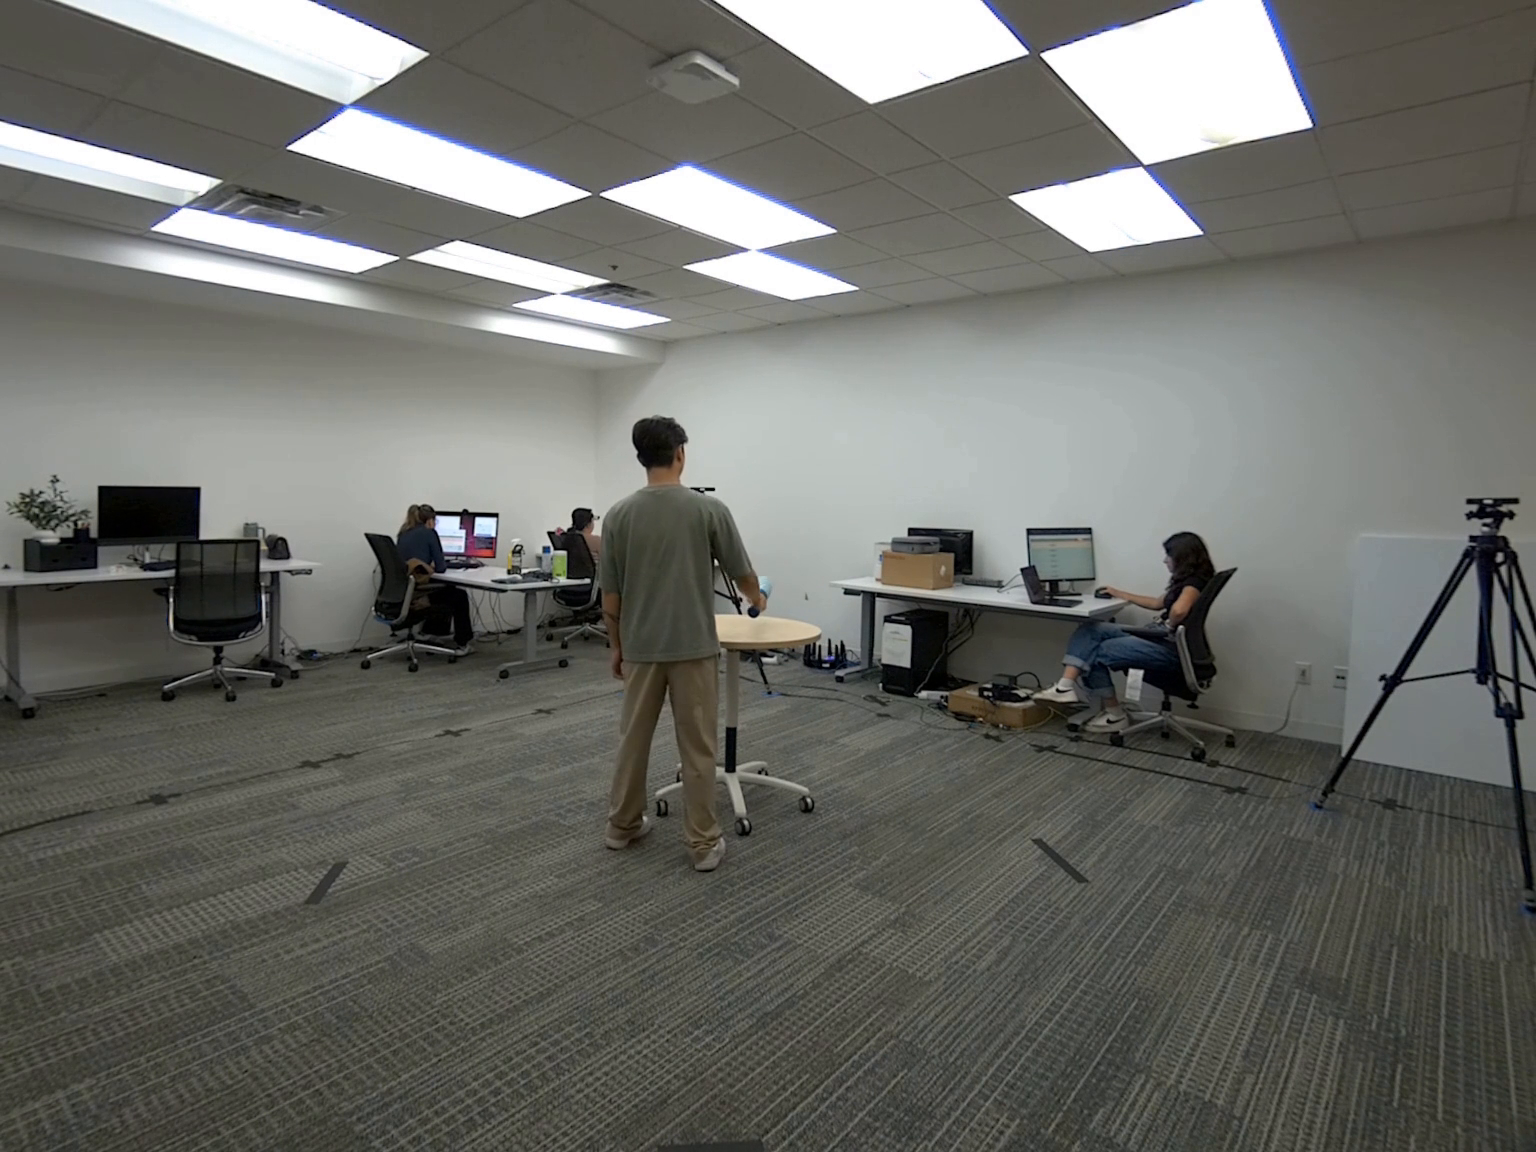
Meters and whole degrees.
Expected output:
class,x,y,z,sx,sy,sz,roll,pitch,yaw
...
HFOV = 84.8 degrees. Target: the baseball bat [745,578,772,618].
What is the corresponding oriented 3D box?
class,x,y,z,sx,sy,sz,roll,pitch,yaw
baseball bat,-0.040,0.094,3.686,0.089,0.088,0.546,1,12,2
